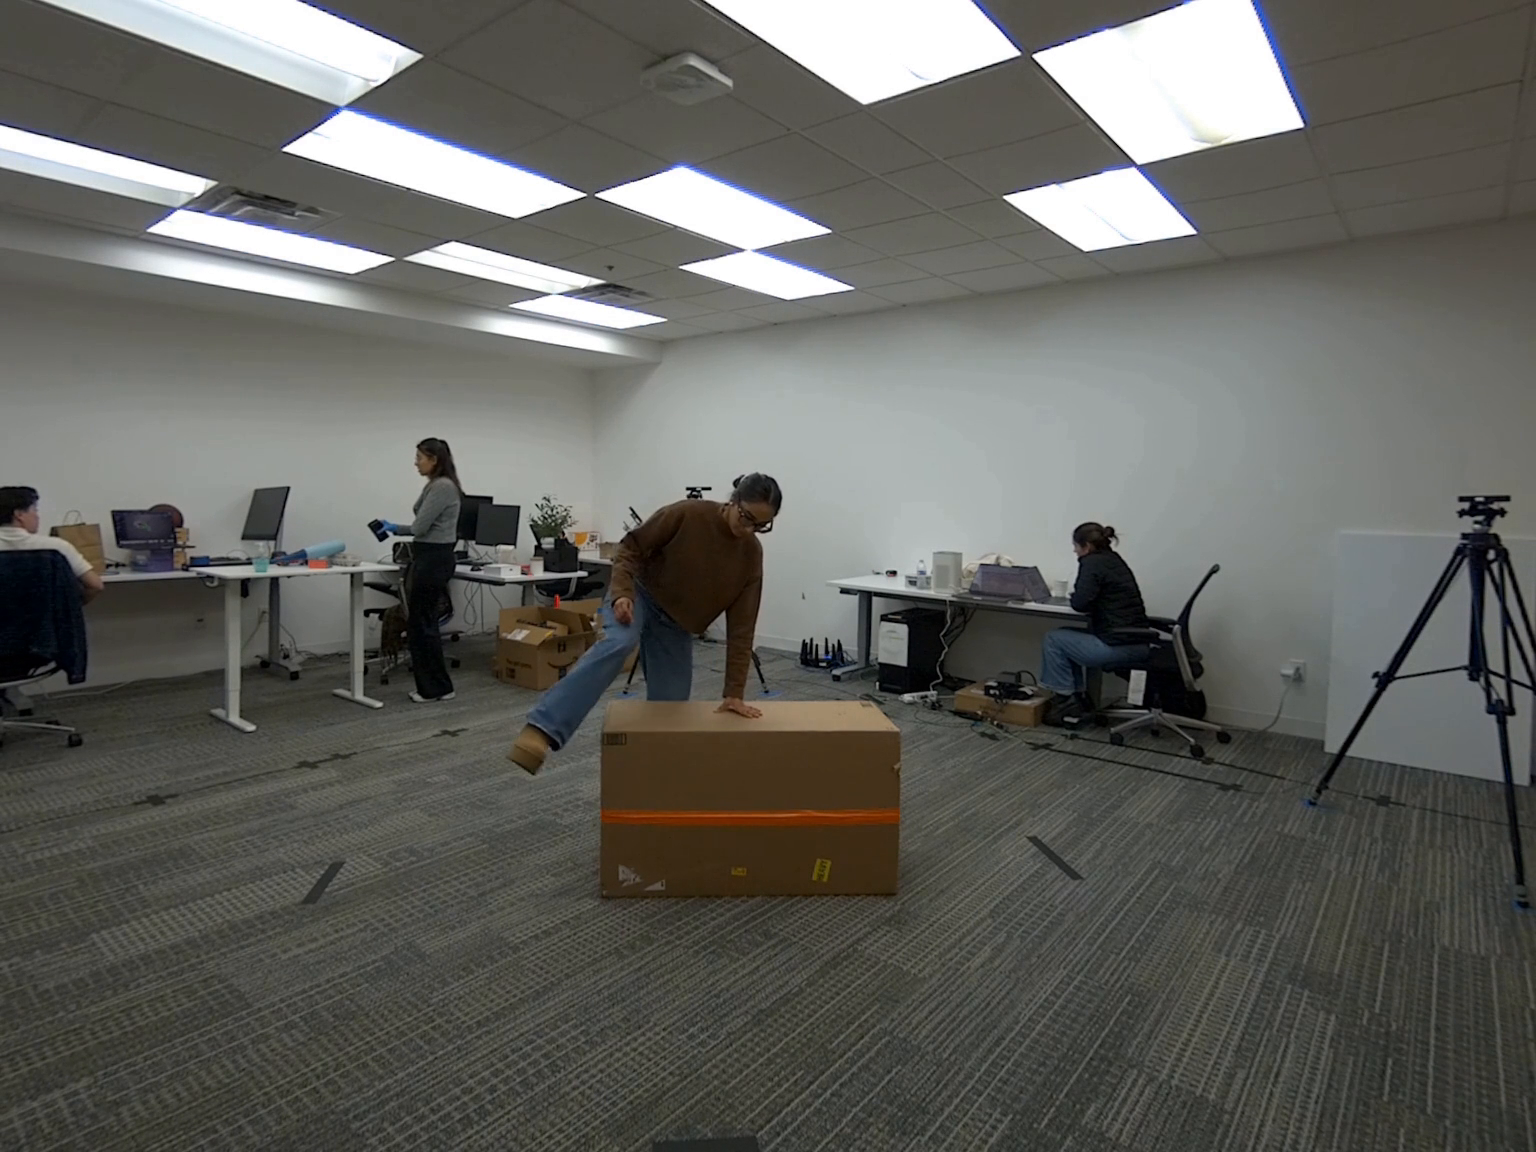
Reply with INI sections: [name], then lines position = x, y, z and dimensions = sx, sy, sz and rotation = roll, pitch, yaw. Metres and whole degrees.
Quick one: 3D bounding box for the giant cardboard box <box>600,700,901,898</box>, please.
[giant cardboard box]
position = -0.085, 0.784, 3.084
dimensions = 1.023, 0.583, 0.450
rotation = 0, 3, -4
